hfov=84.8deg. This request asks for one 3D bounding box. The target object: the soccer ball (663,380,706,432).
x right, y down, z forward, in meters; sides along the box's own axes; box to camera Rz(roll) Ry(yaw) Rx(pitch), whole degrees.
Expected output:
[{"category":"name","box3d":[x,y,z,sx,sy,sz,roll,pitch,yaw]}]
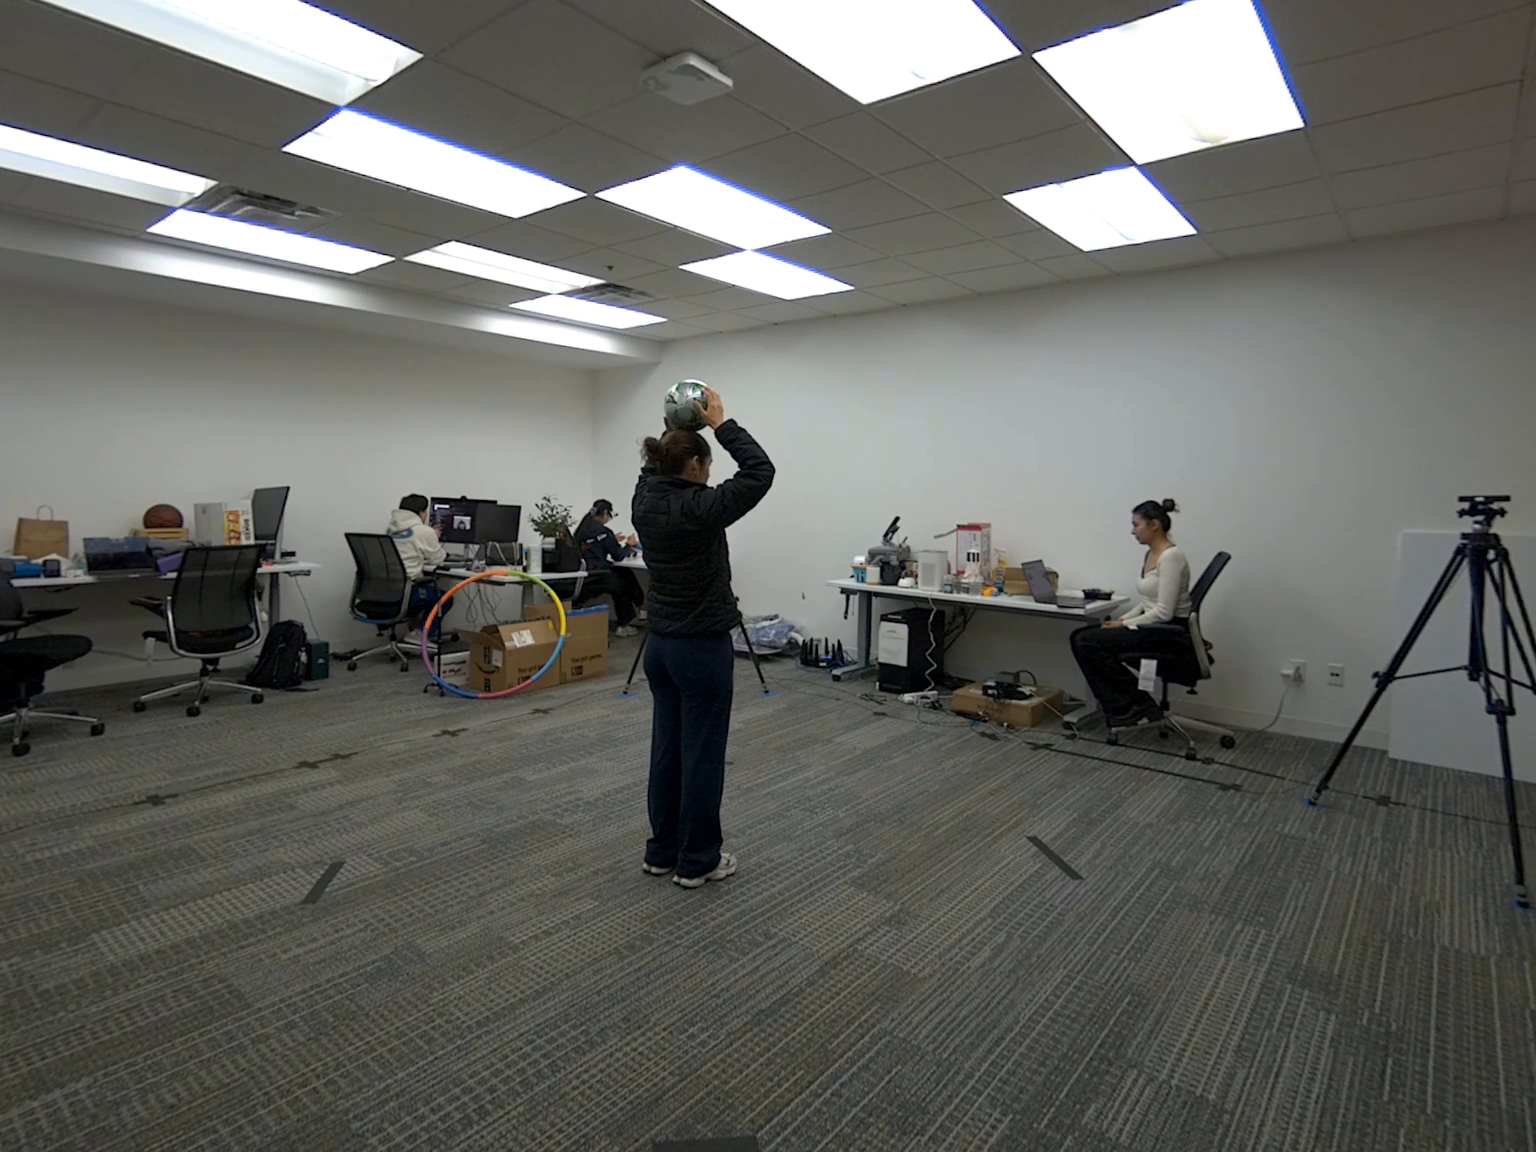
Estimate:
[{"category":"soccer ball","box3d":[-0.284,-0.609,3.043,0.187,0.187,0.188,1,4,-2]}]
